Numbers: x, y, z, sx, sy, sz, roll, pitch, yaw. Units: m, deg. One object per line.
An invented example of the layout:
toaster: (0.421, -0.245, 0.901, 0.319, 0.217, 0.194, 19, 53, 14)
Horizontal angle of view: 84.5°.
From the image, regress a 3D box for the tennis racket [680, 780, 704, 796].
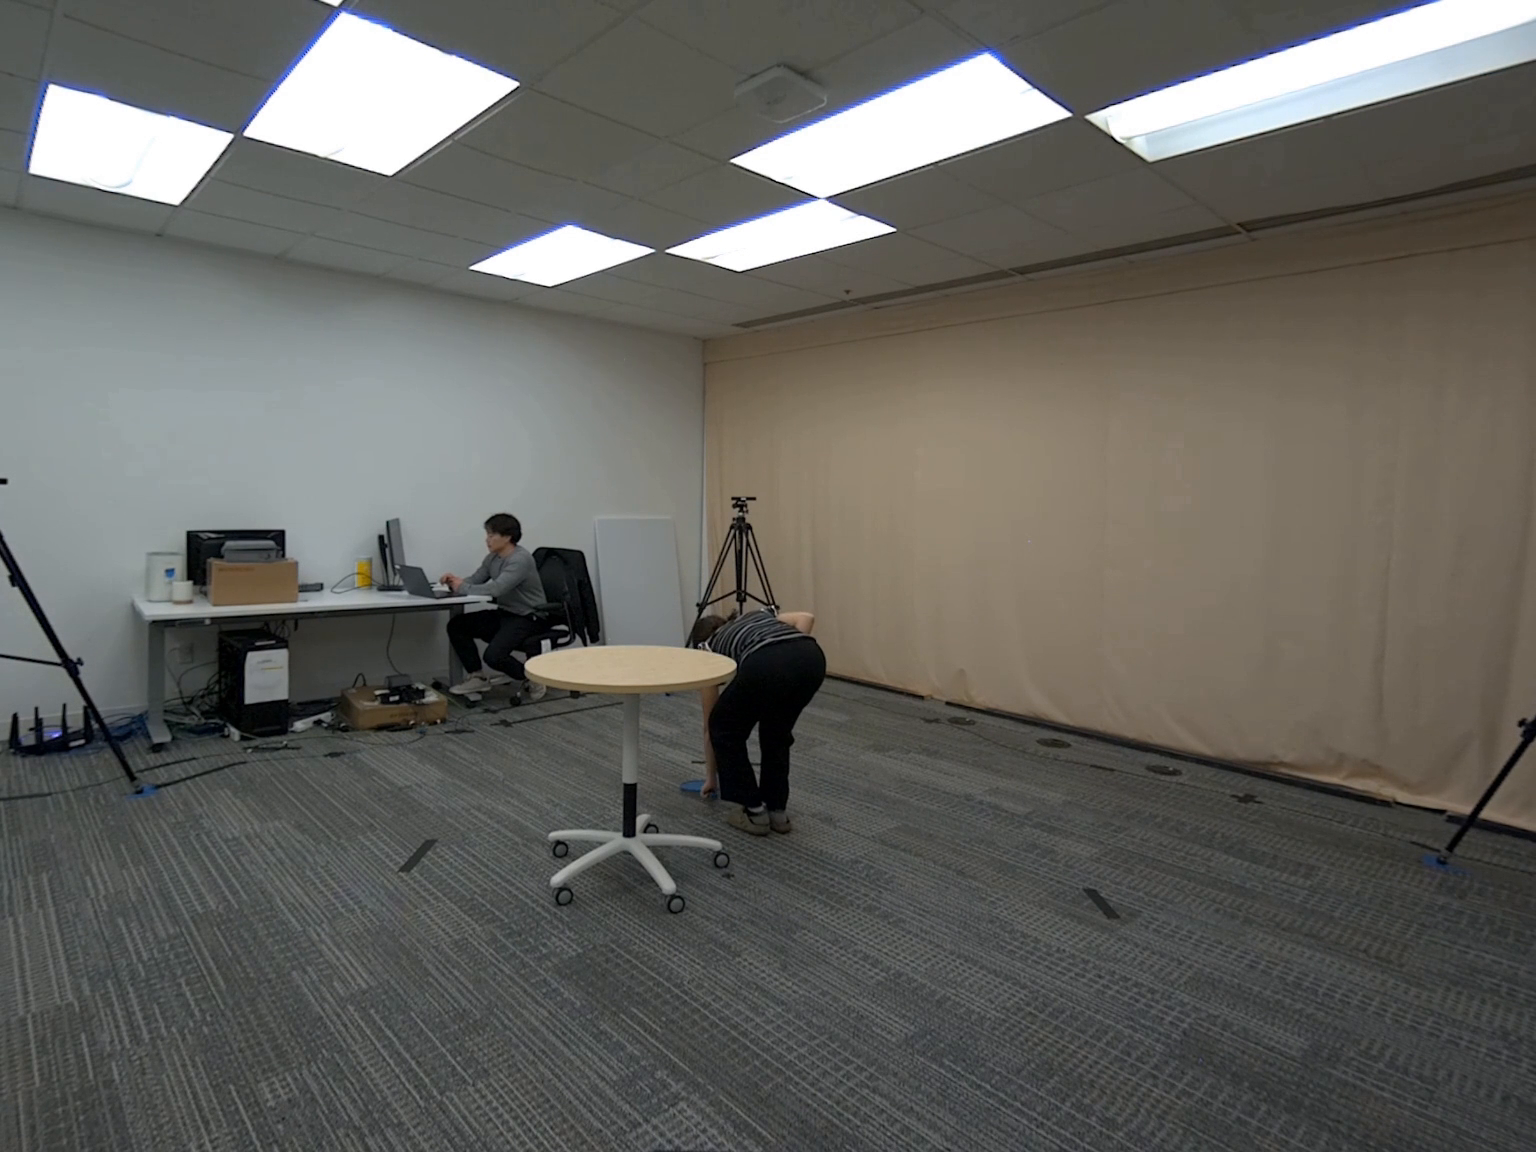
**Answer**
tennis racket: (-0.305, 0.996, 3.936, 0.211, 0.032, 0.437, -2, -2, -17)
